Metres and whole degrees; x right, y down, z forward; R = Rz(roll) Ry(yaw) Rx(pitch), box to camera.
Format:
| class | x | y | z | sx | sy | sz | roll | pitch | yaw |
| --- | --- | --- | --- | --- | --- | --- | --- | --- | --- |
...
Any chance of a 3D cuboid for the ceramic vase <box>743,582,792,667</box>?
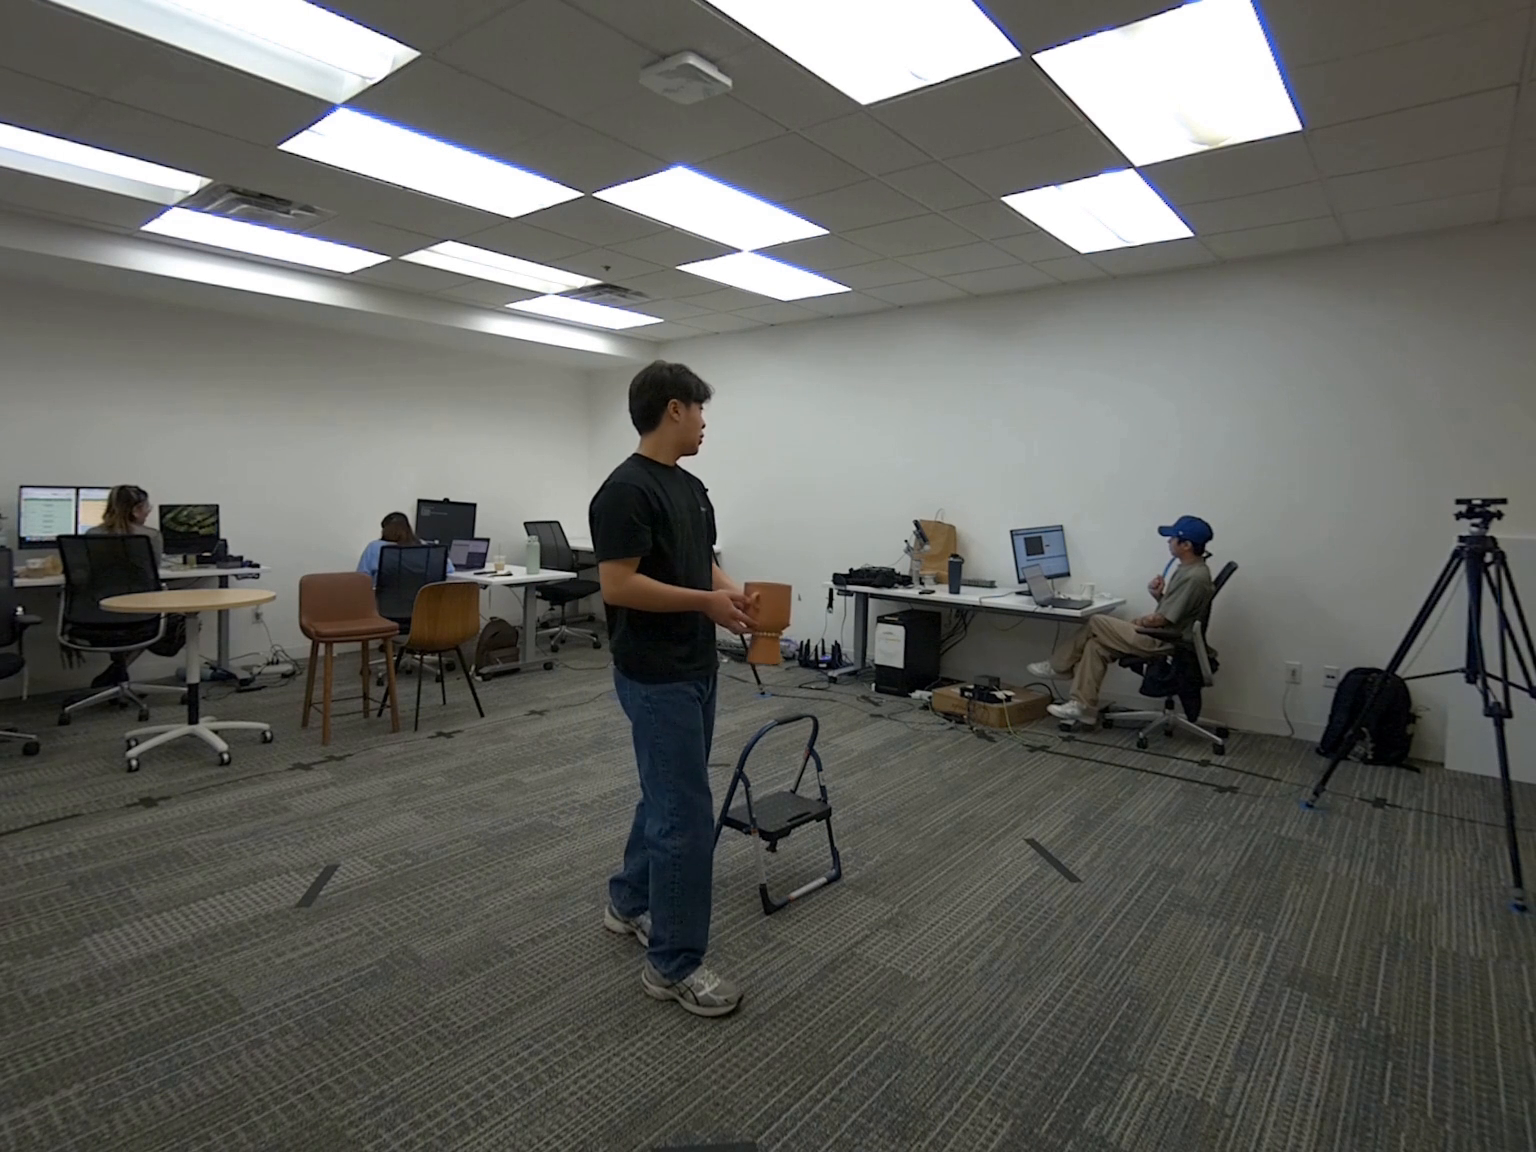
| class | x | y | z | sx | sy | sz | roll | pitch | yaw |
| --- | --- | --- | --- | --- | --- | --- | --- | --- | --- |
| ceramic vase | -0.020 | 0.128 | 2.358 | 0.155 | 0.220 | 0.137 | 4 | -2 | -22 |
